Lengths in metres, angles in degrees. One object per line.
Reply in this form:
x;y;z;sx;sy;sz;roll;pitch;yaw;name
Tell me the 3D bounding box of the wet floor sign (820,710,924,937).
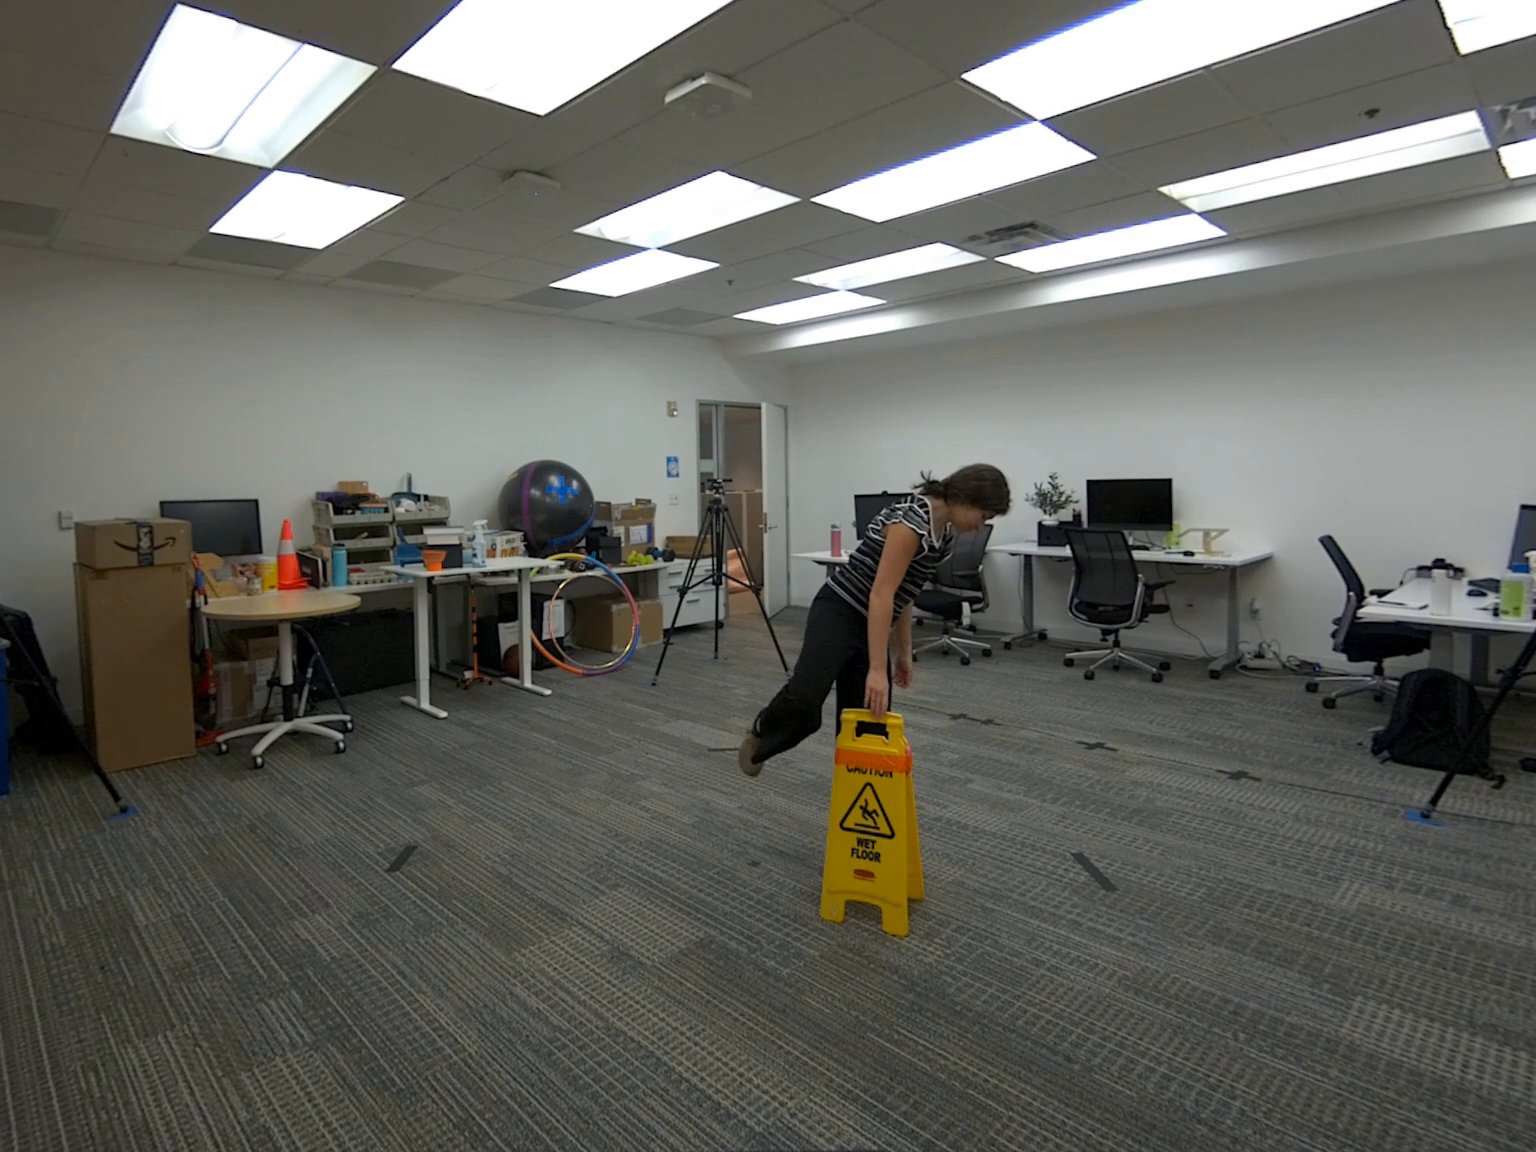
0.342;0.761;2.737;0.288;0.643;0.285;1;5;24;wet floor sign
